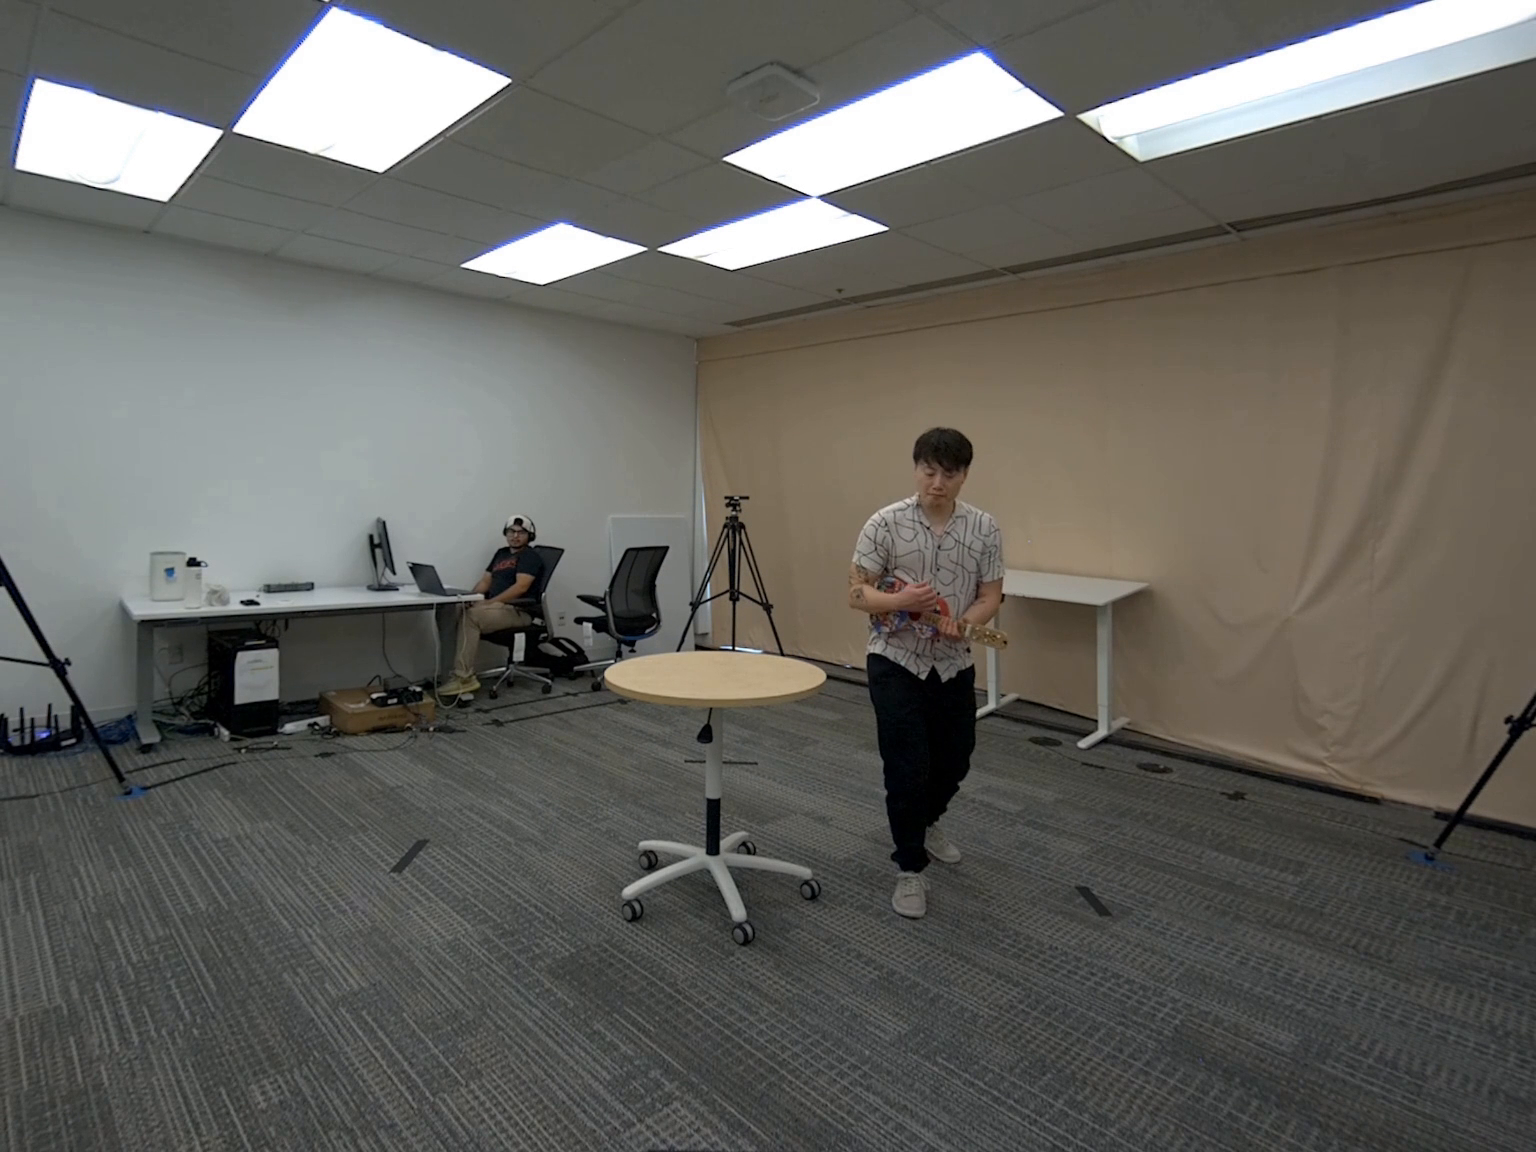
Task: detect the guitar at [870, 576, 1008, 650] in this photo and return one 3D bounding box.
[{"bbox_3d":[0.542,0.170,2.788,0.069,0.192,0.513,3,21,-47],"label":"guitar"}]
